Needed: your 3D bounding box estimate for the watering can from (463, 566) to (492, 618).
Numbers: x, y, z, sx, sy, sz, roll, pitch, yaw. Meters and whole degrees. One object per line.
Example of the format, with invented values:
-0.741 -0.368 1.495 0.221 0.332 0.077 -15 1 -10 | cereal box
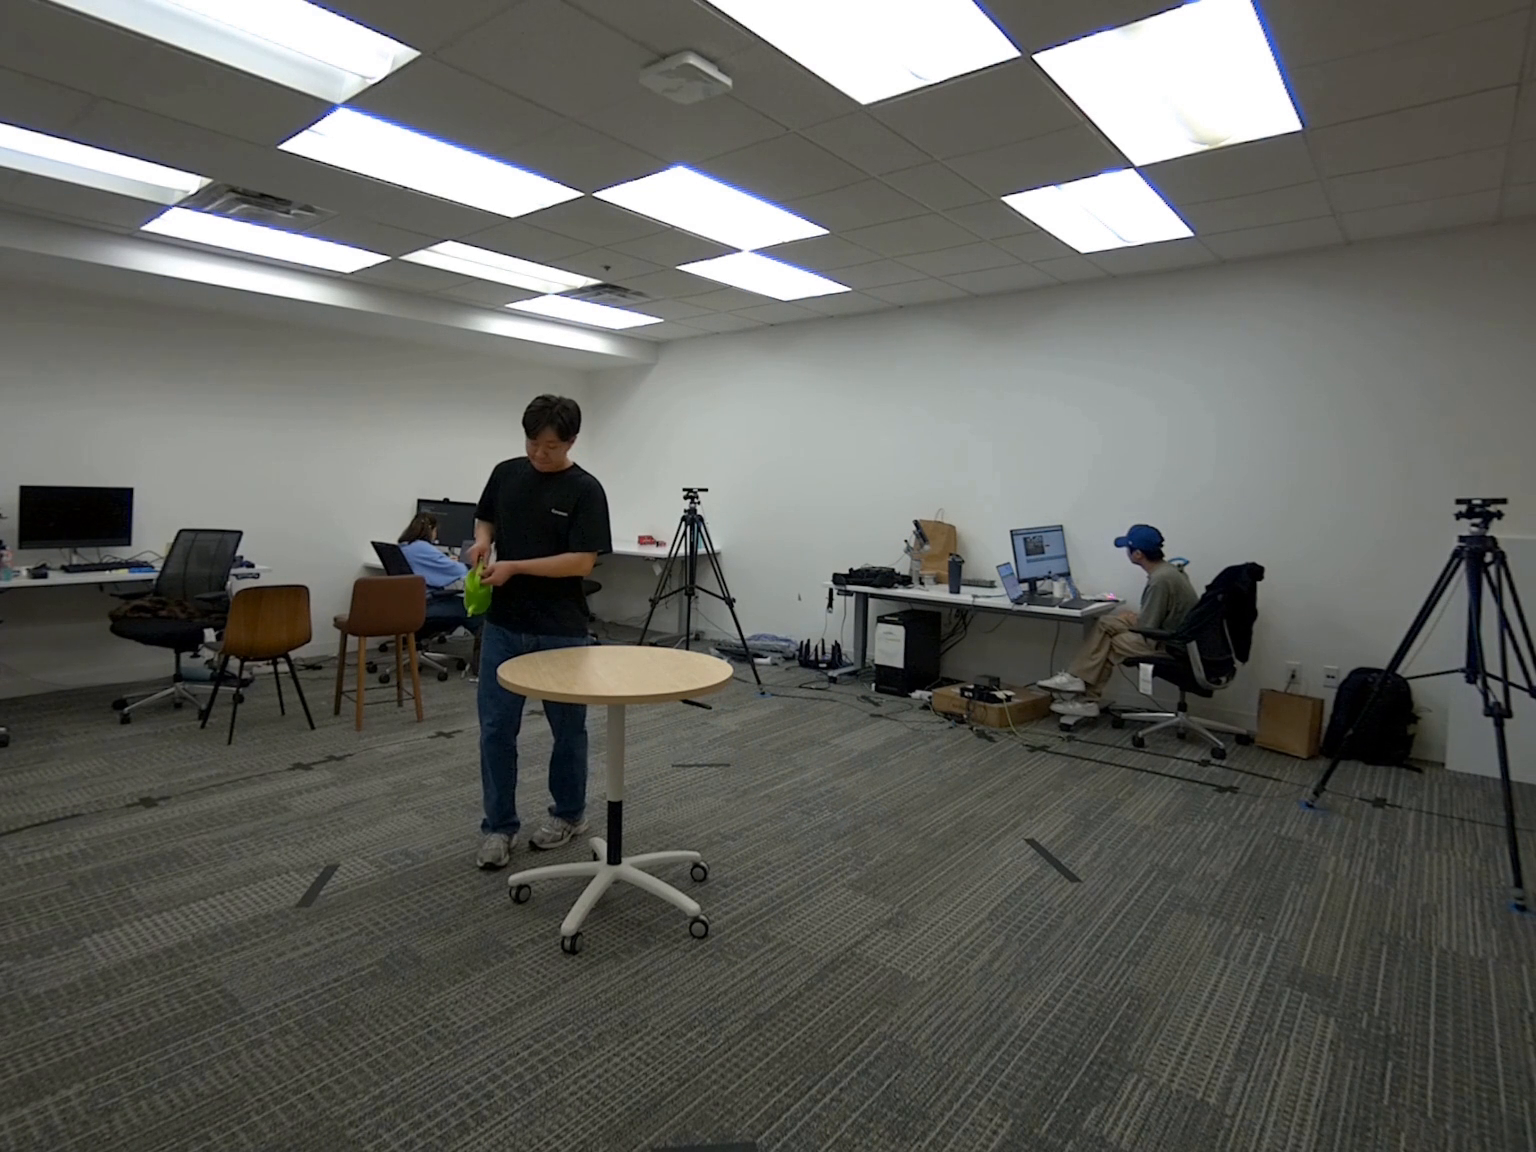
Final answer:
-1.087 0.070 3.104 0.097 0.285 0.174 15 -43 -7 | watering can
